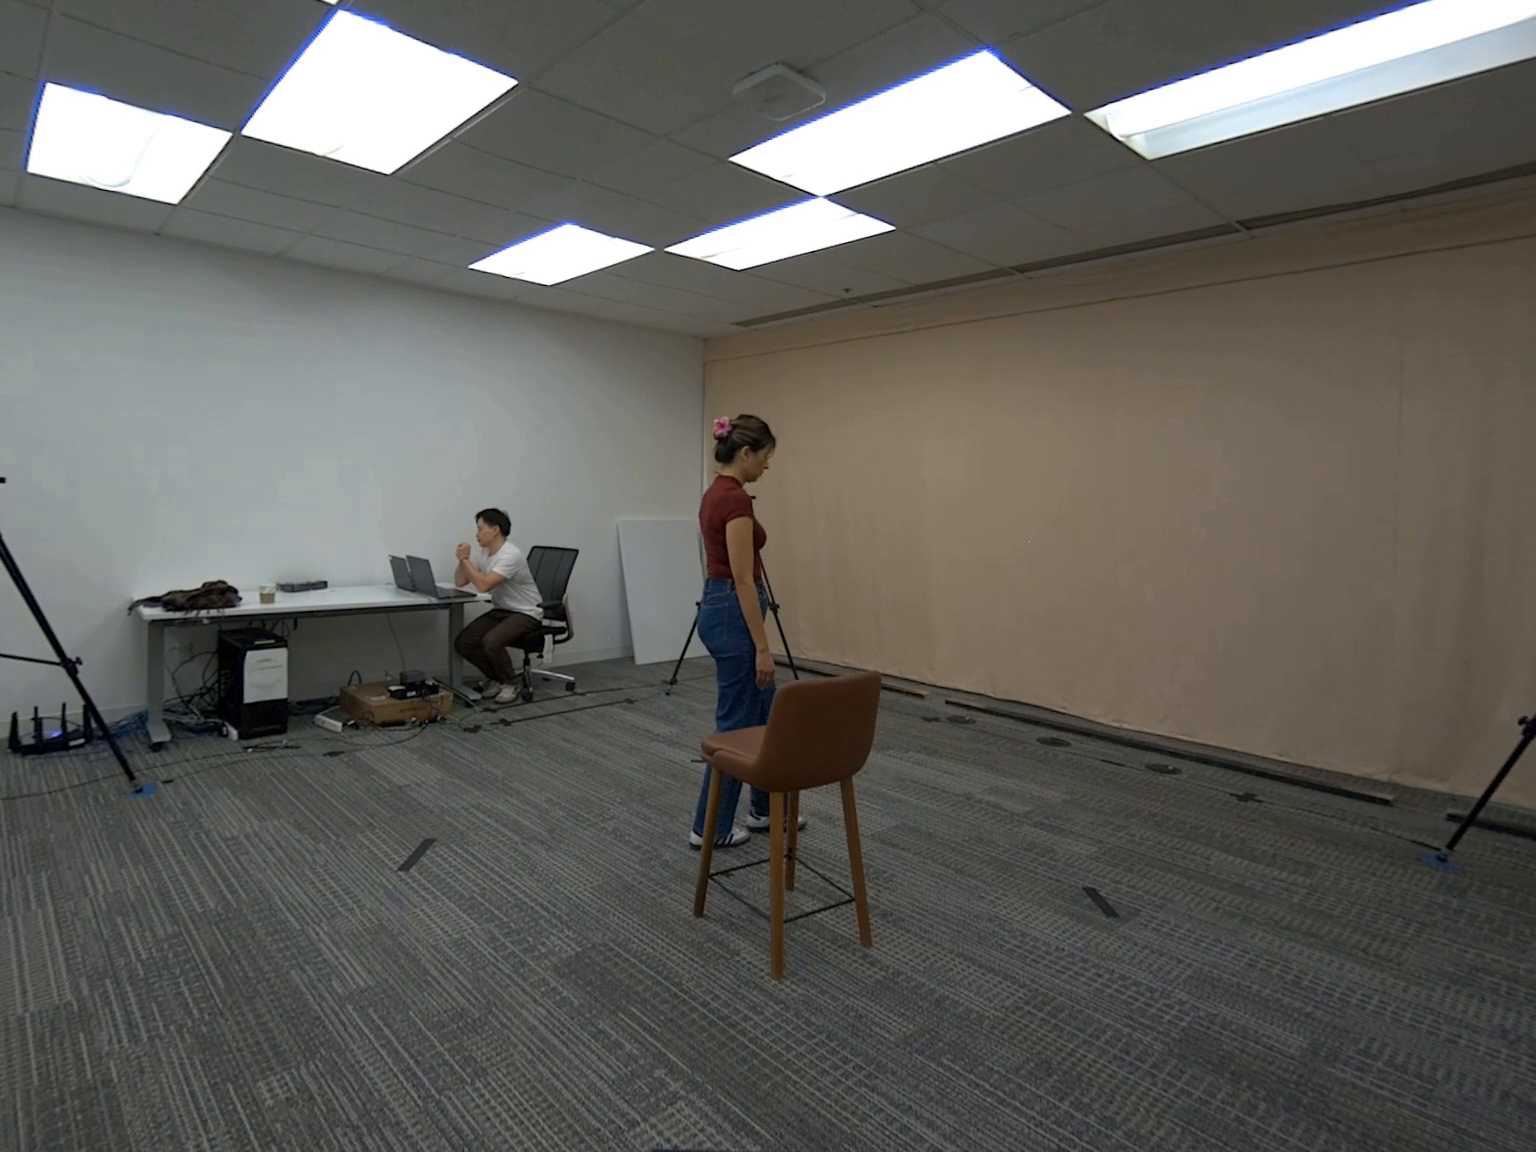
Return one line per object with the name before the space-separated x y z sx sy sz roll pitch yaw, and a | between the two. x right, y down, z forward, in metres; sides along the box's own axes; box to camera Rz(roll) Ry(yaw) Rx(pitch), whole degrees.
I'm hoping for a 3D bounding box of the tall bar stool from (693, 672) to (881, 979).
tall bar stool | 0.054 0.708 2.693 0.446 0.887 0.479 -1 6 -35
